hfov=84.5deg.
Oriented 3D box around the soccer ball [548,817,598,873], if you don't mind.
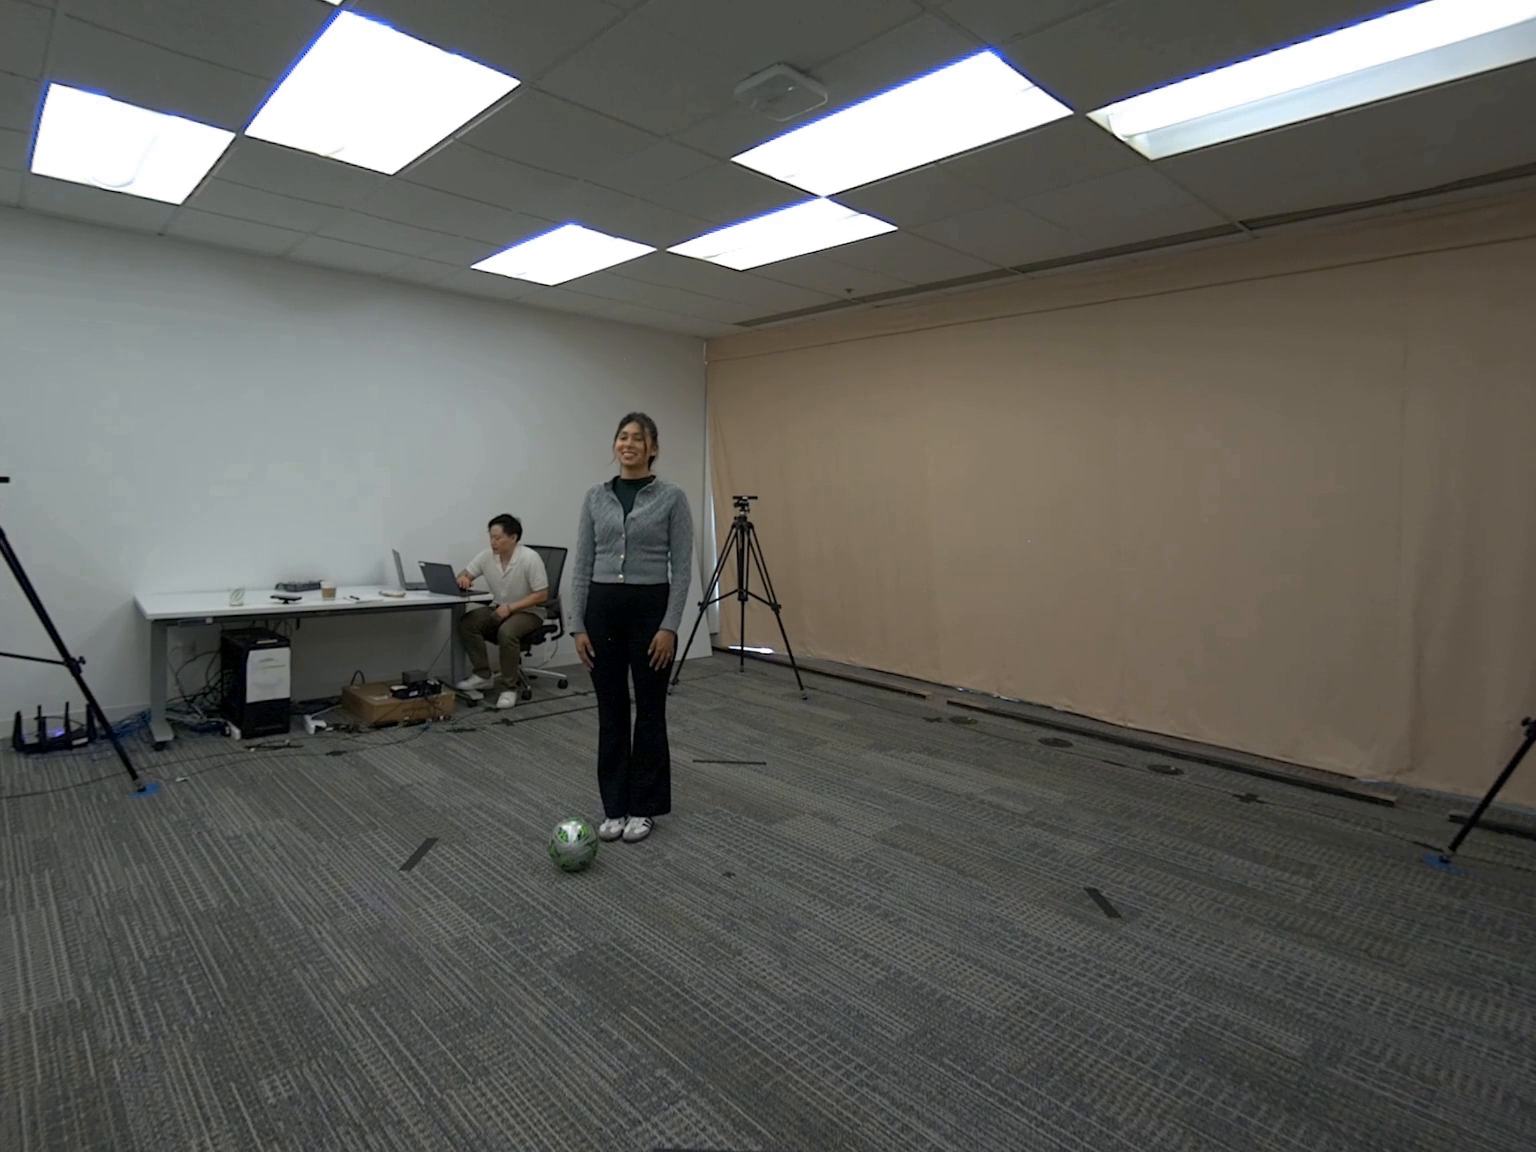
[{"bbox_3d":[-0.738,0.996,3.120,0.187,0.187,0.188,1,4,-1],"label":"soccer ball"}]
